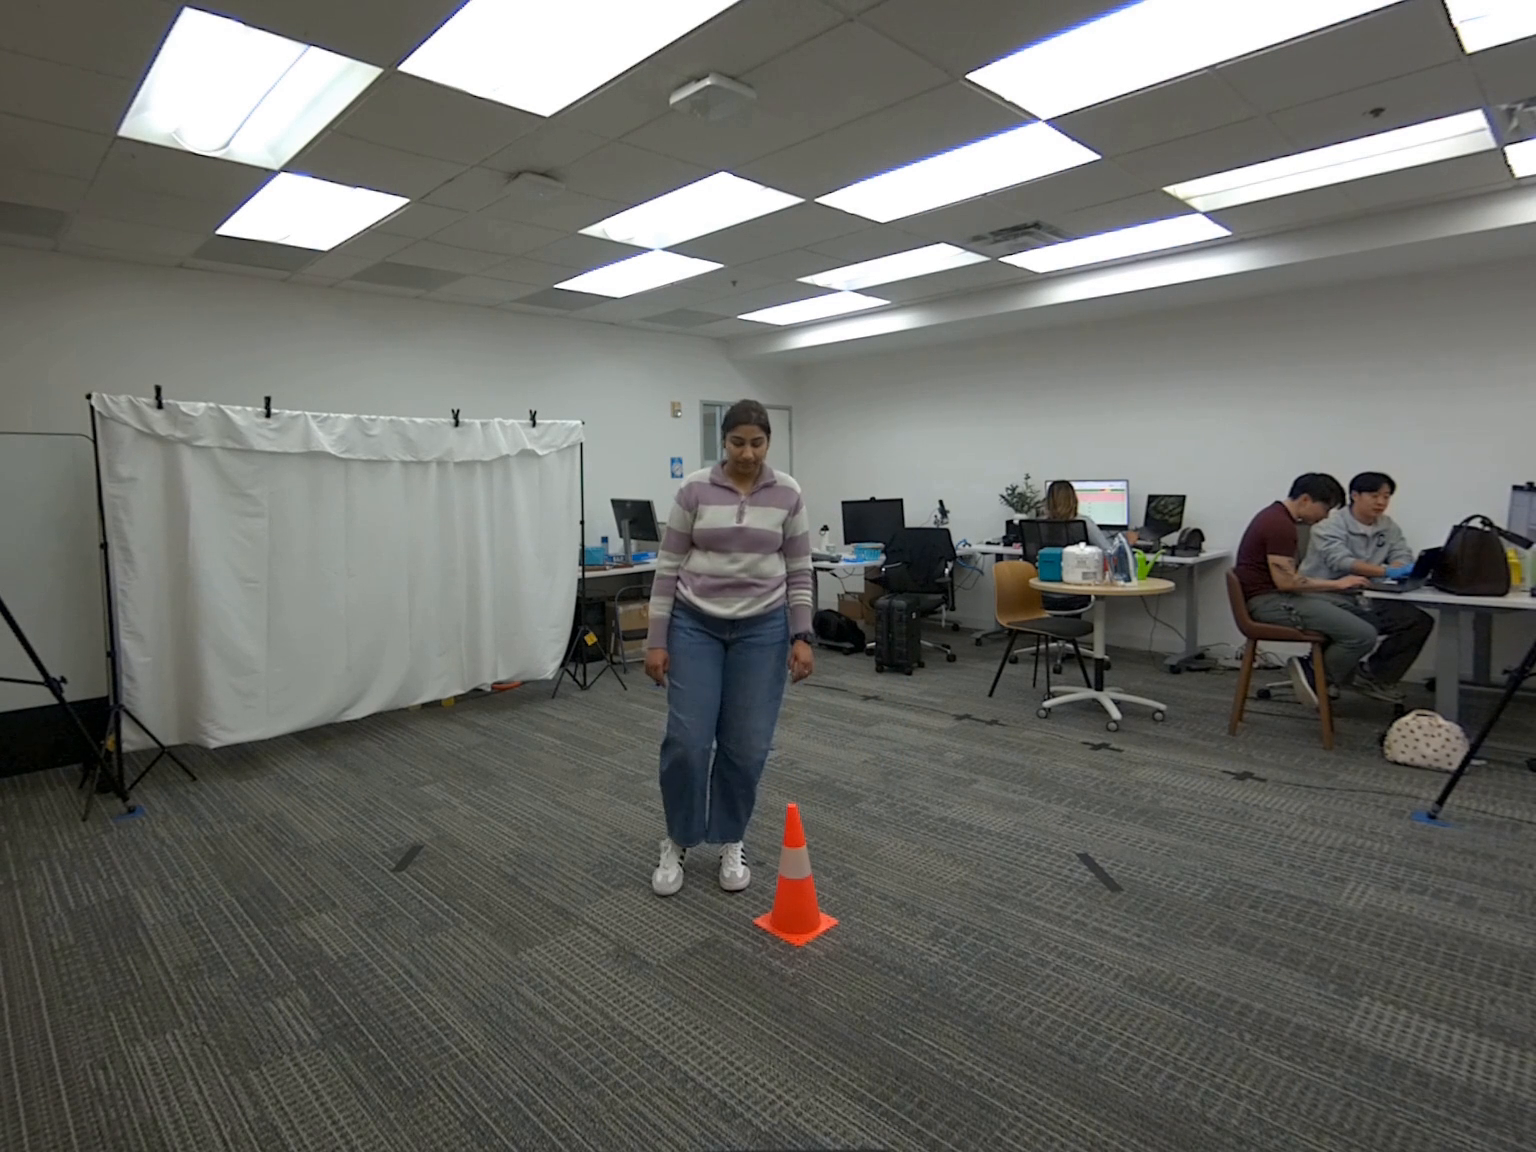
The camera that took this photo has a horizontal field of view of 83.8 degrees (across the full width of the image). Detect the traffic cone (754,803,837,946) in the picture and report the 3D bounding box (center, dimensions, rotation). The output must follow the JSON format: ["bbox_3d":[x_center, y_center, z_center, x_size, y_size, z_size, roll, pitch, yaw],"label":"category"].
[{"bbox_3d":[0.089,0.907,2.684,0.211,0.382,0.198,2,5,42],"label":"traffic cone"}]
